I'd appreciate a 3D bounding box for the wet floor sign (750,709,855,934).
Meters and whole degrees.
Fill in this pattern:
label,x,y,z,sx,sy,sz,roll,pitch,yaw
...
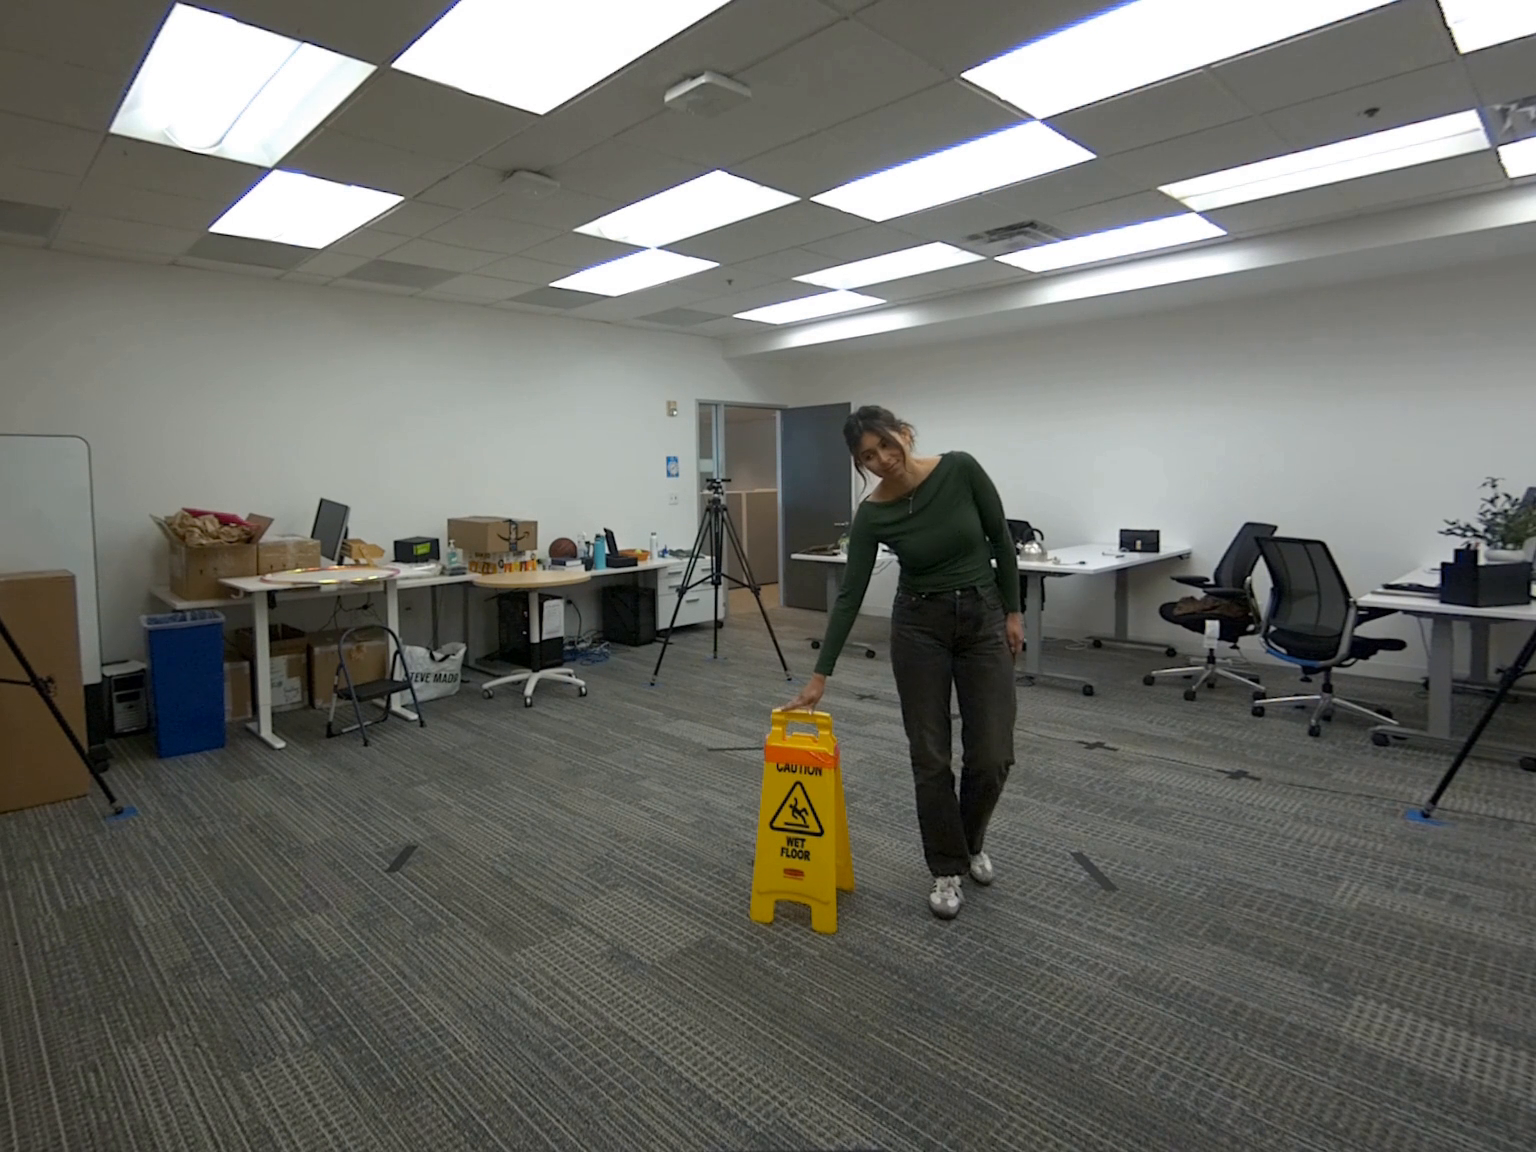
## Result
label,x,y,z,sx,sy,sz,roll,pitch,yaw
wet floor sign,0.120,0.758,2.781,0.287,0.644,0.285,1,4,19
